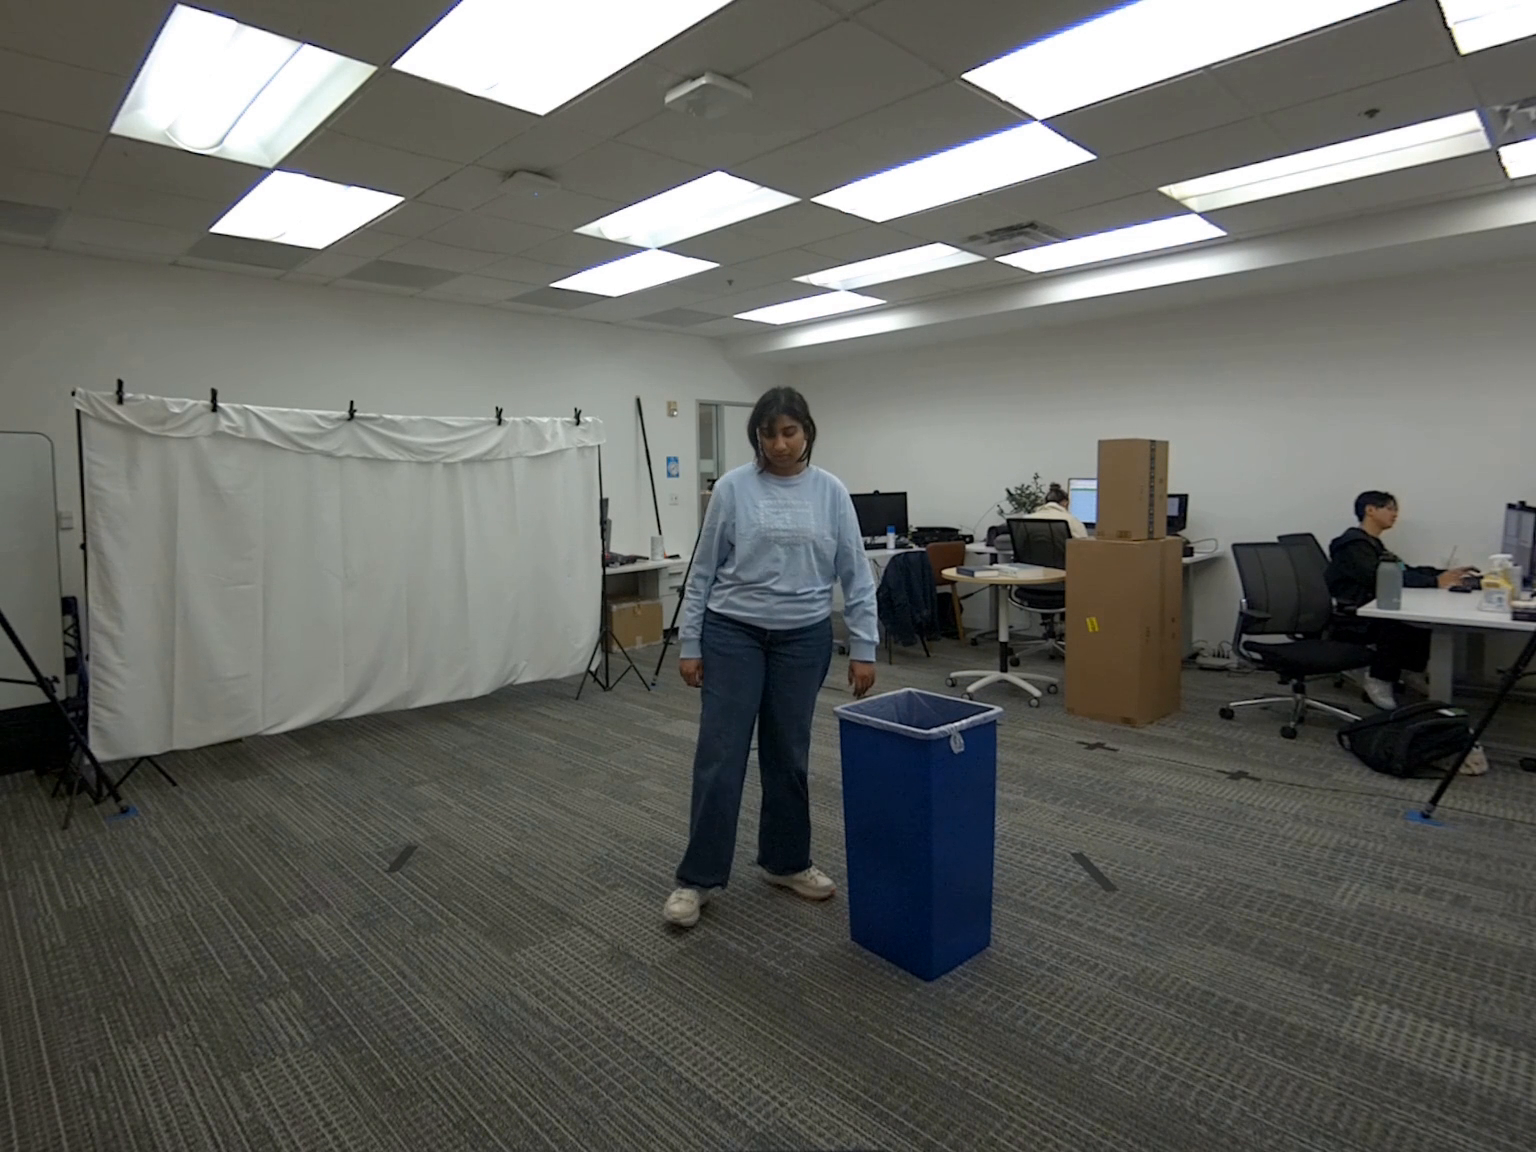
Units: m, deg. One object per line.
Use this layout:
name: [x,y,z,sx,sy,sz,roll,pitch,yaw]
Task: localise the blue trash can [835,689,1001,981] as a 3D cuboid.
blue trash can: [0.450,0.744,2.543,0.368,0.711,0.385,-4,5,-40]
